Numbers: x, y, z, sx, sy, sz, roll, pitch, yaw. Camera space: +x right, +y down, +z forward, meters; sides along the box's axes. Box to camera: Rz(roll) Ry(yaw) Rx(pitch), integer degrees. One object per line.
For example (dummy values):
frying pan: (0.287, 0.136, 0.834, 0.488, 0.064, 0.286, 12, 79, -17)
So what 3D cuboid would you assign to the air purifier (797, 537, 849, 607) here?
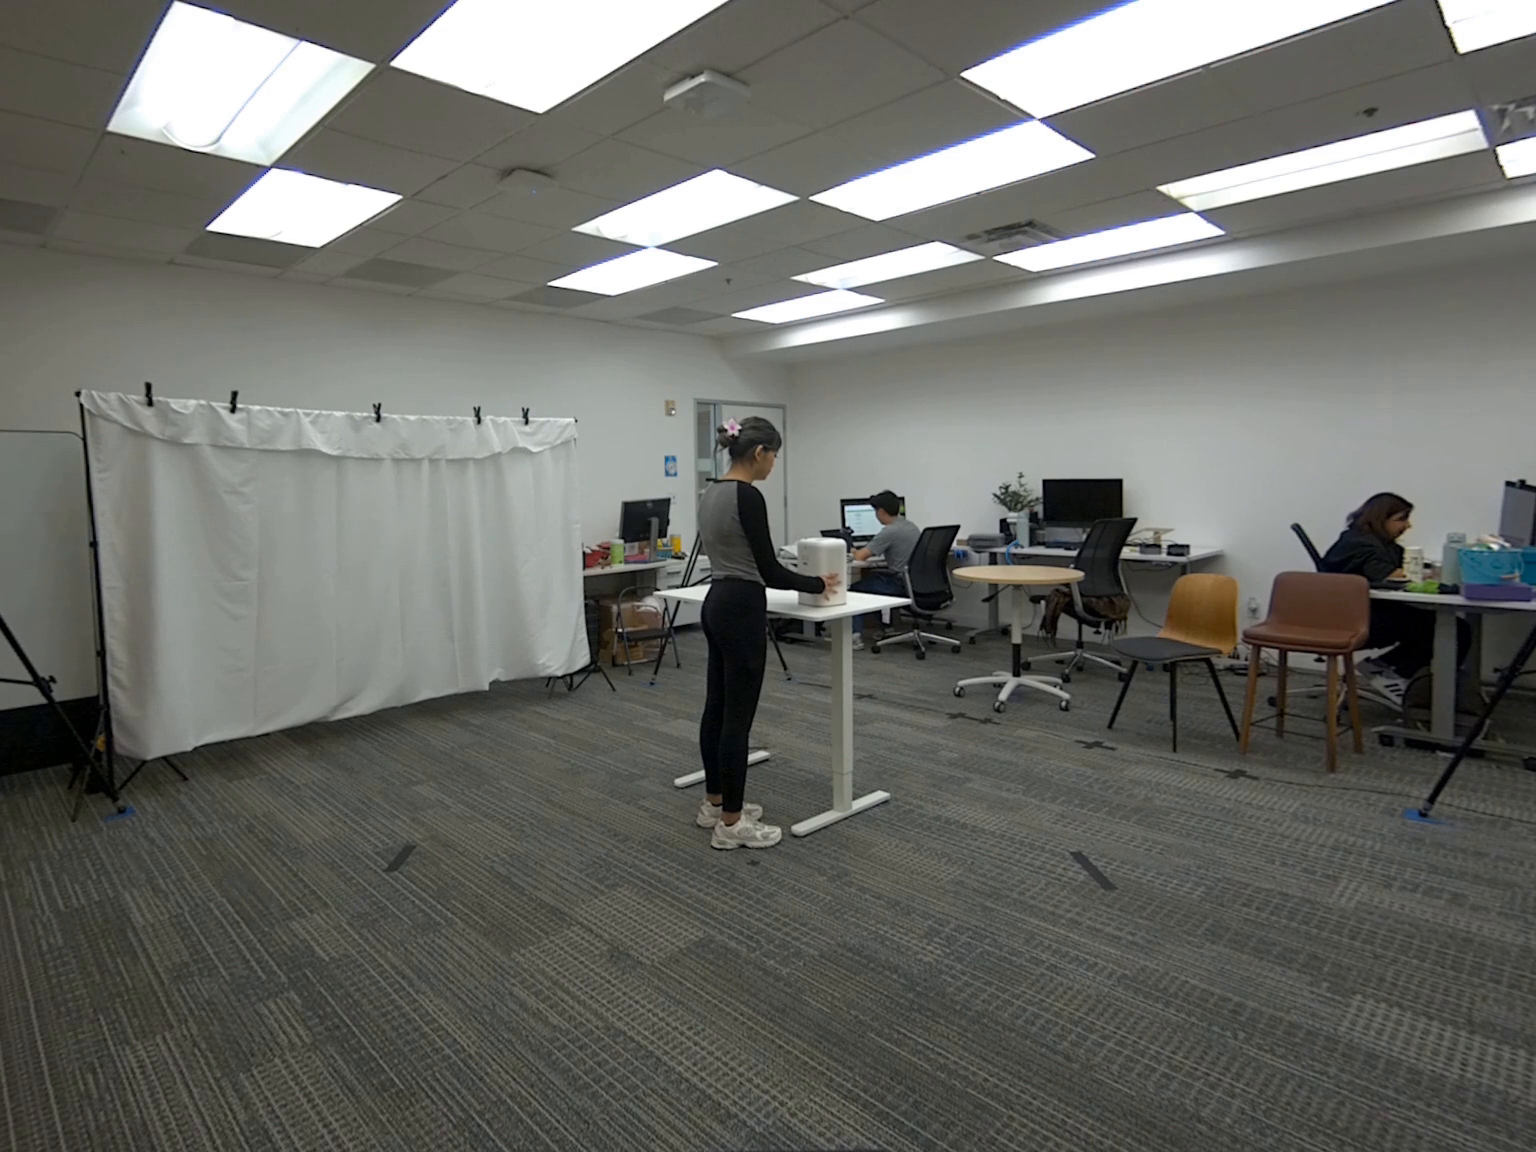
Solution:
air purifier: (0.219, -0.020, 3.482, 0.167, 0.264, 0.176, -4, 7, -32)
